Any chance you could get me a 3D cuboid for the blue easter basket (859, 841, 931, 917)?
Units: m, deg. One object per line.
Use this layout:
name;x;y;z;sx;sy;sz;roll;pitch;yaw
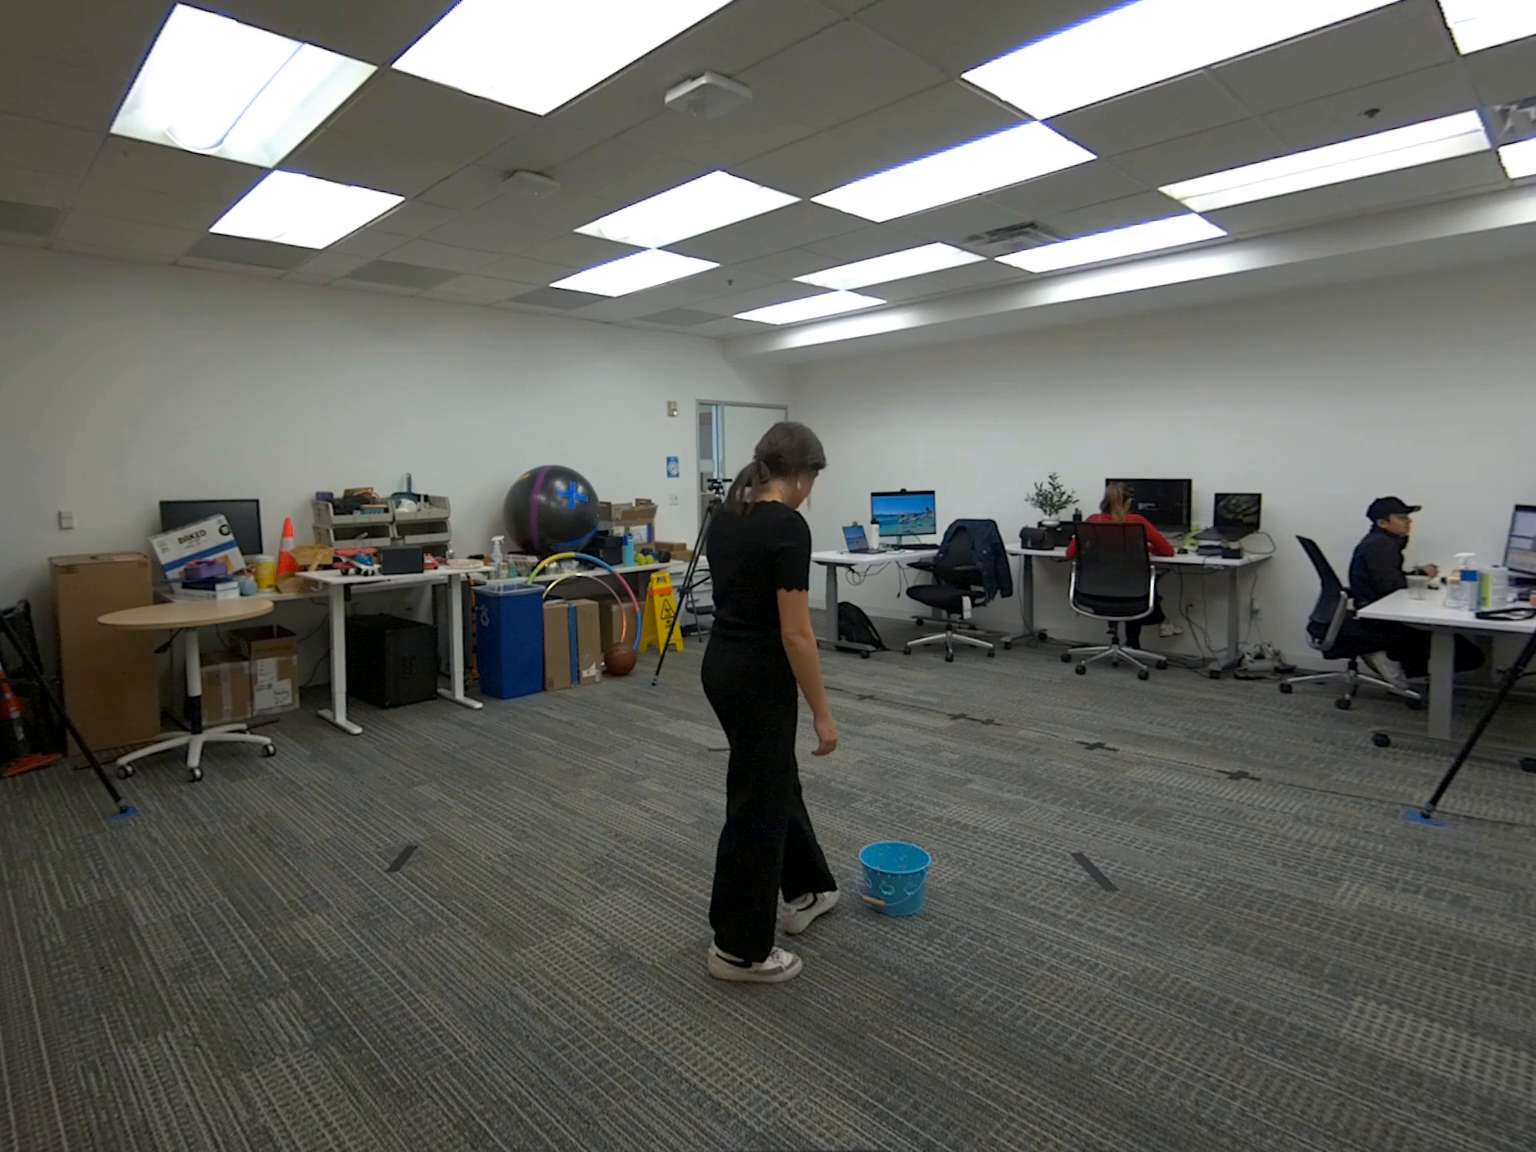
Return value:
blue easter basket;0.412;0.992;2.805;0.243;0.155;0.245;-1;6;-2
